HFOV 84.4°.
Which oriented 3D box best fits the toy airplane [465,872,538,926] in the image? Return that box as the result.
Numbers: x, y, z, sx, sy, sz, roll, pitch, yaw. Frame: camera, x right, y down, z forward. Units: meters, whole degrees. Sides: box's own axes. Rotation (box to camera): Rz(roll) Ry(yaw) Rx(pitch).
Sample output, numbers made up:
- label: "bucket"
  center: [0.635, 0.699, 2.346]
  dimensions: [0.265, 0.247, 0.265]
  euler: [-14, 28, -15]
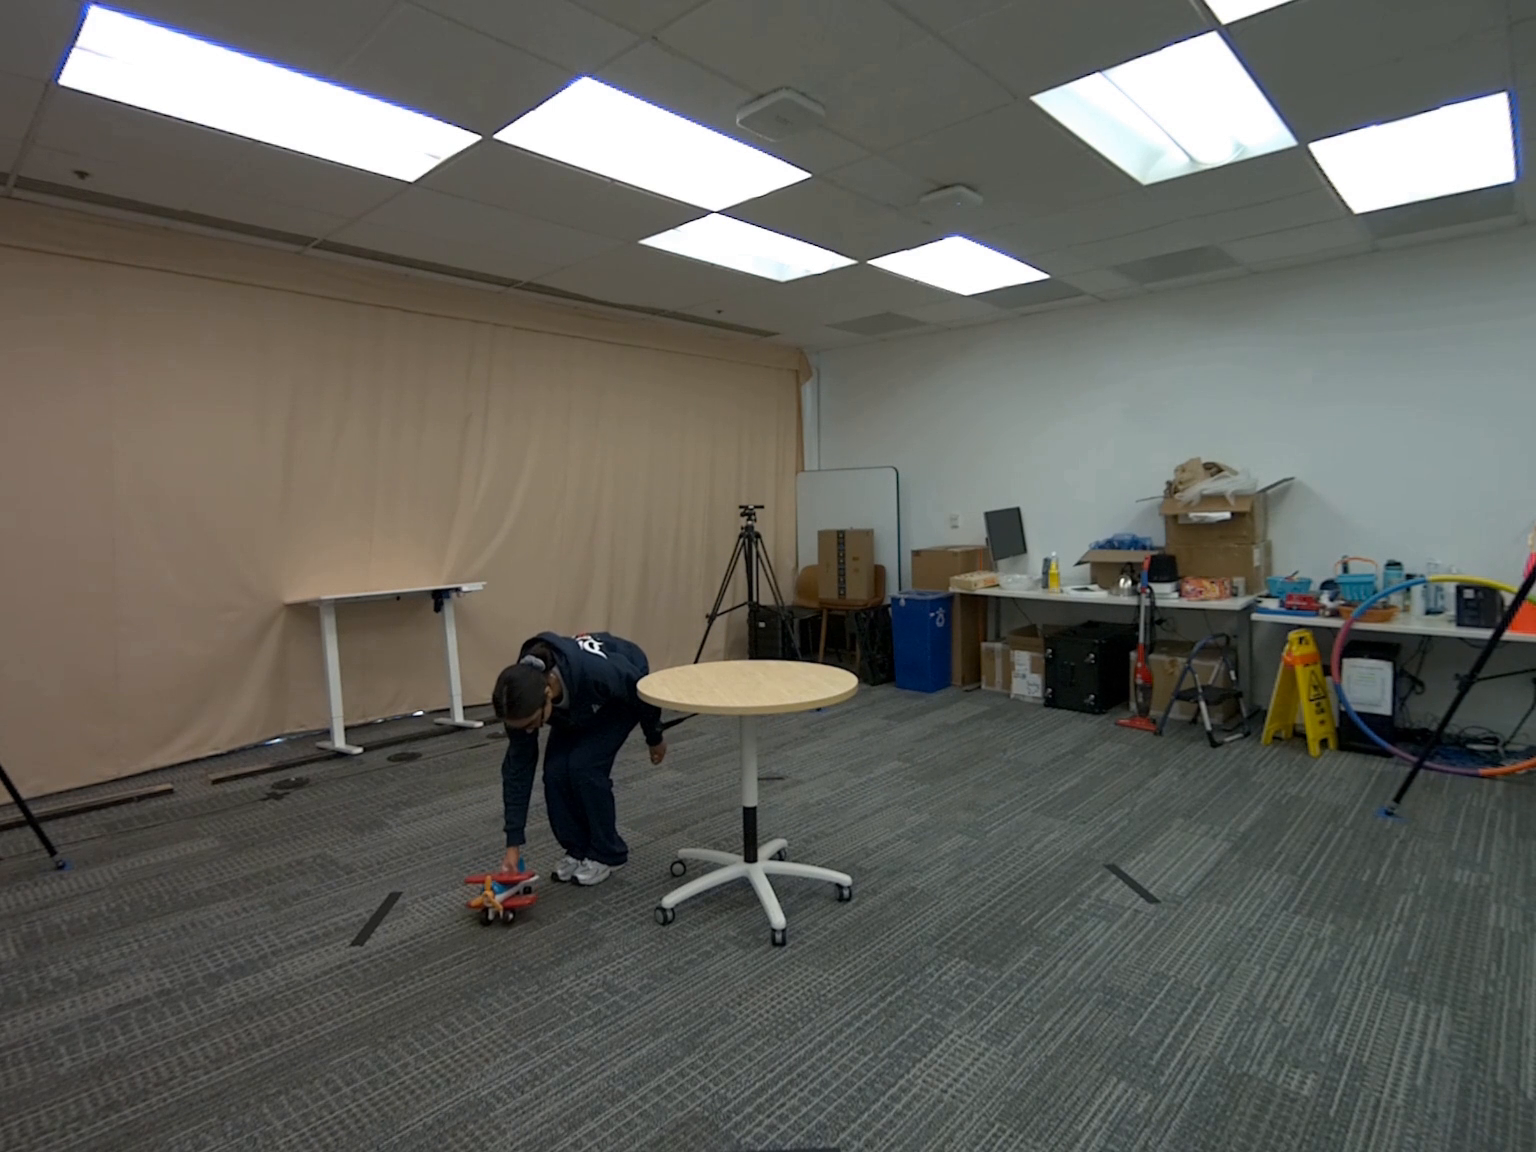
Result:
- label: "toy airplane"
  center: [-0.927, 1.082, 2.910]
  dimensions: [0.248, 0.155, 0.264]
  euler: [-11, 8, -14]
